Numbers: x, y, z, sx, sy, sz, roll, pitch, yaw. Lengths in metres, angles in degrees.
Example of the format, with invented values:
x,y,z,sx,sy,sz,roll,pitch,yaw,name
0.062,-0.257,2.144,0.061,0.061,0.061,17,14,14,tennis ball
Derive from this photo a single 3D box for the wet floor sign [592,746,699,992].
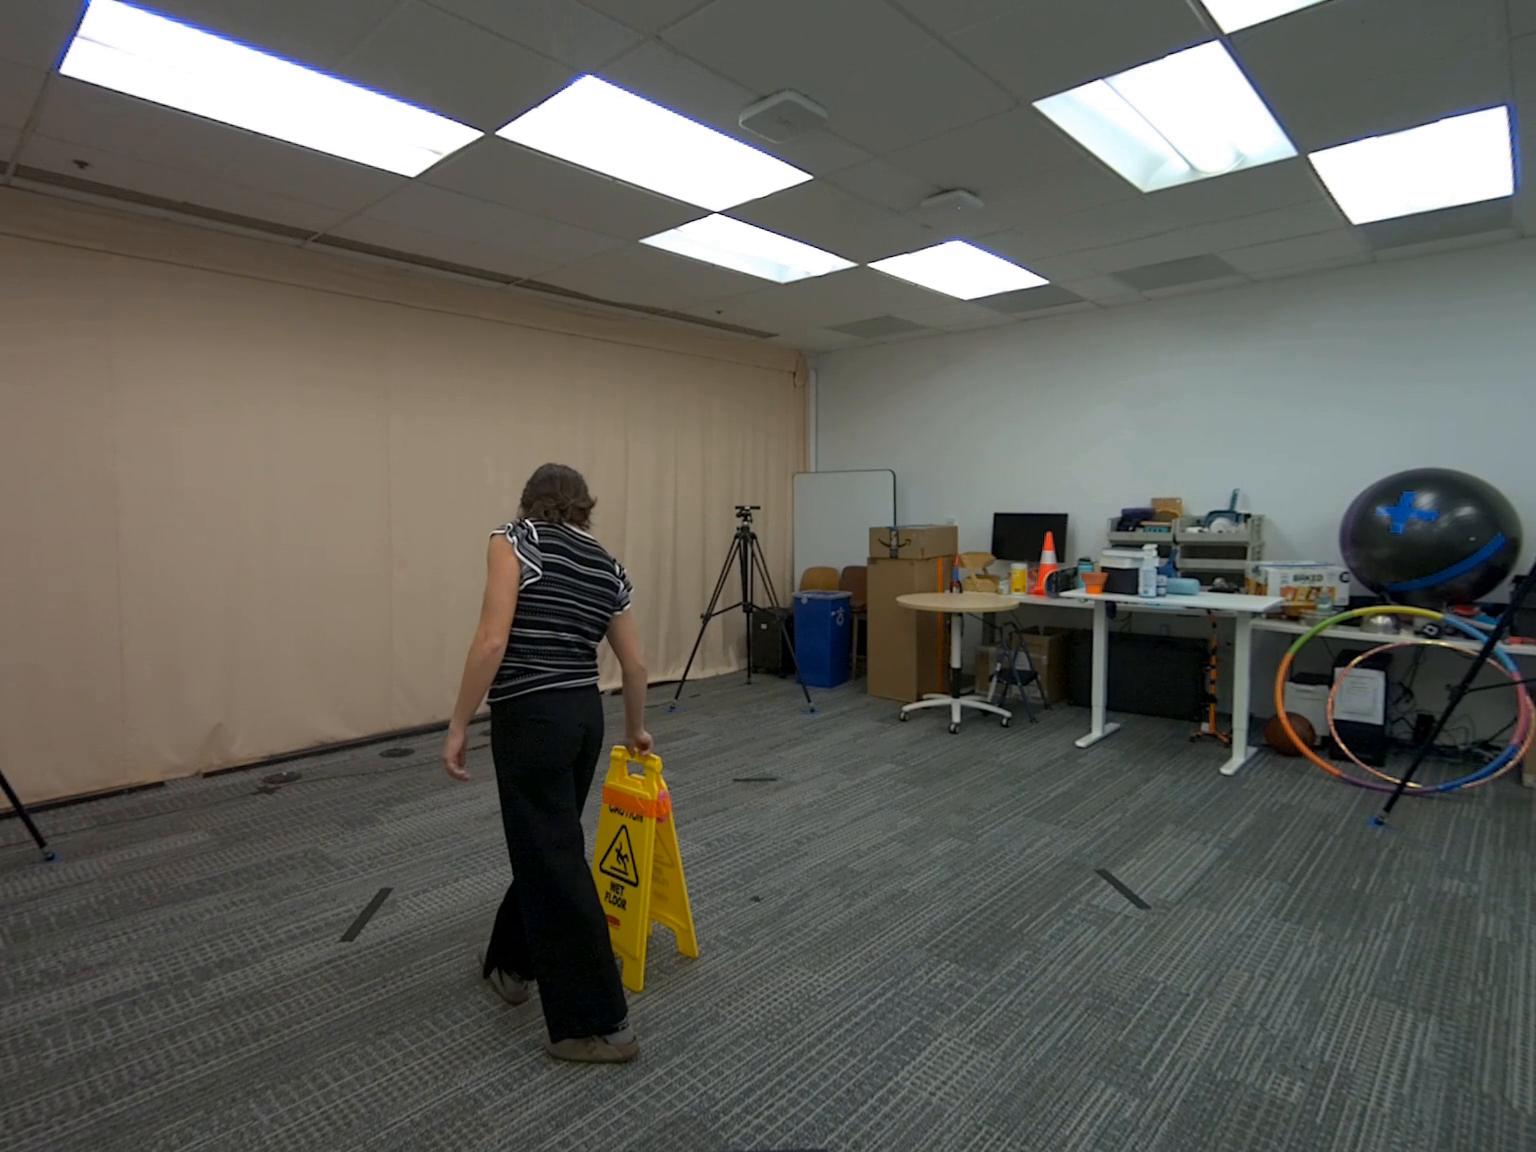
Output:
x,y,z,sx,sy,sz,roll,pitch,yaw,name
-0.402,0.857,2.569,0.291,0.645,0.281,1,4,39,wet floor sign
